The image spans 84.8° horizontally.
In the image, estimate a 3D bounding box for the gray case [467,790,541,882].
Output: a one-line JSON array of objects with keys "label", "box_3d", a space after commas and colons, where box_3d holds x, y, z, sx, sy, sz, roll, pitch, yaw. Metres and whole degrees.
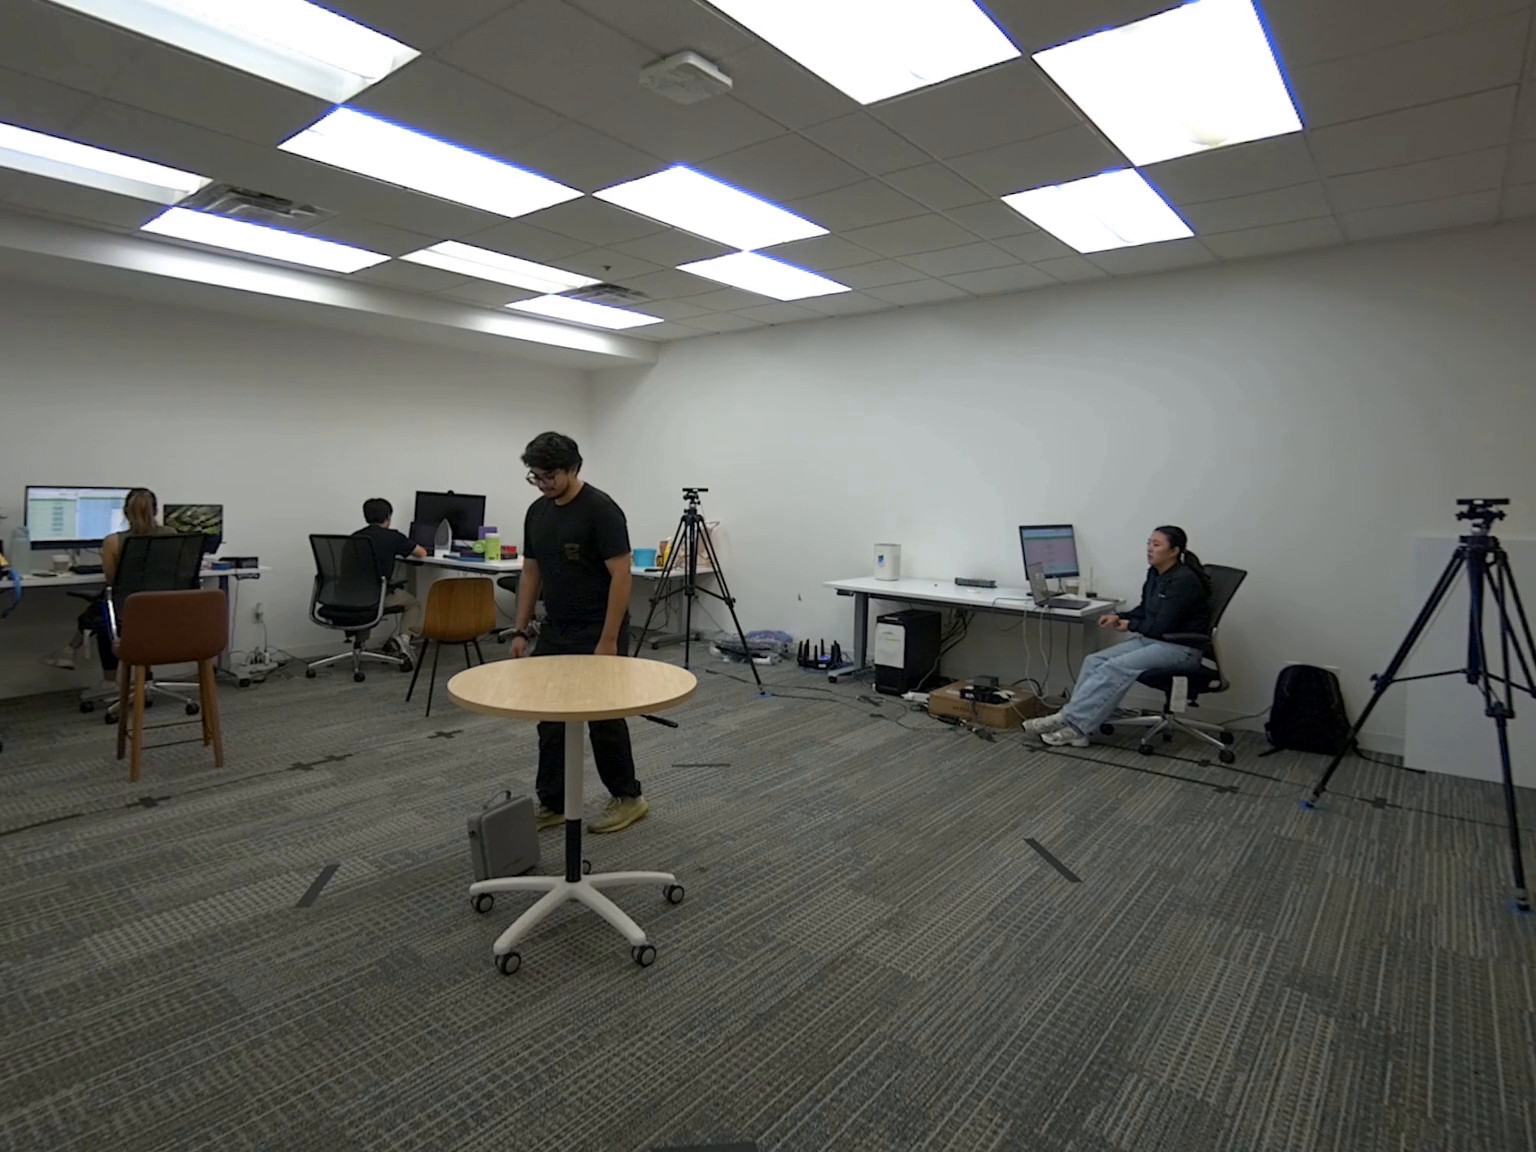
[{"label": "gray case", "box_3d": [-0.959, 0.936, 3.035, 0.107, 0.261, 0.250, -8, -1, 29]}]
